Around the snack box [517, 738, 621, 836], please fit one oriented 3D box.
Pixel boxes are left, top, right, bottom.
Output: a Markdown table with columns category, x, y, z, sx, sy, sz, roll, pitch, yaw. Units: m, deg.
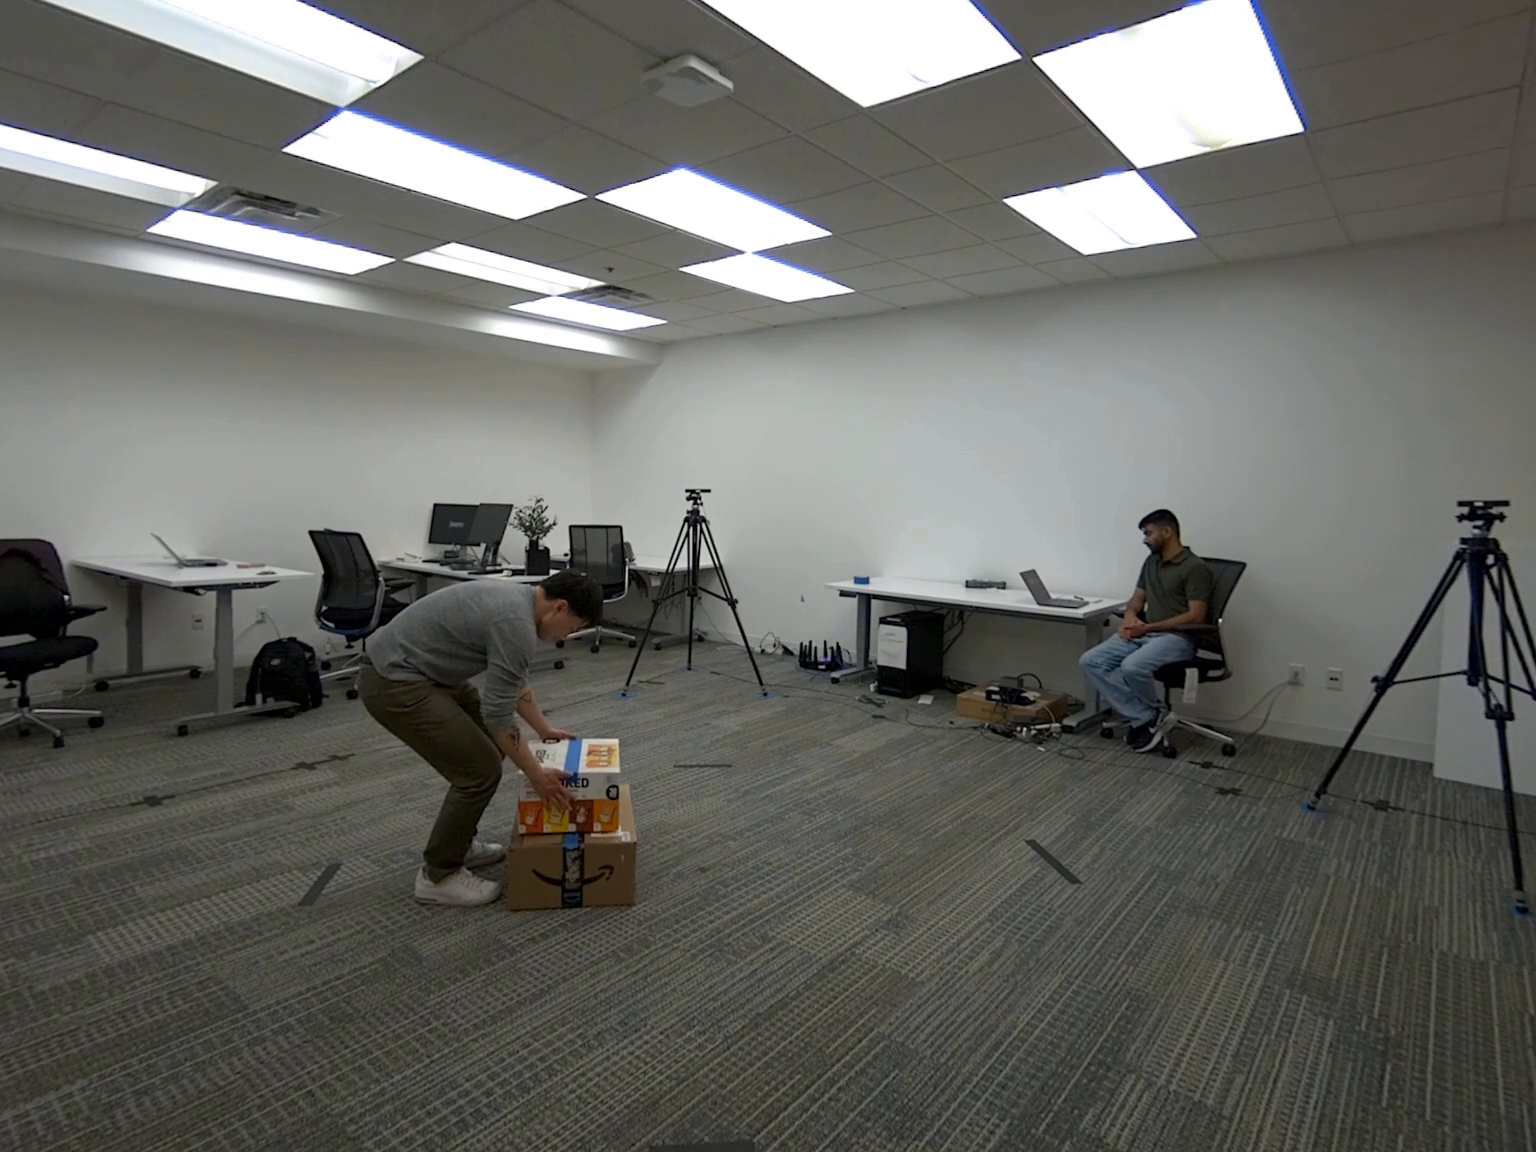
| category | x | y | z | sx | sy | sz | roll | pitch | yaw |
| --- | --- | --- | --- | --- | --- | --- | --- | --- | --- |
| snack box | -0.719 | 0.741 | 3.059 | 0.337 | 0.205 | 0.410 | 1 | 5 | -10 |
